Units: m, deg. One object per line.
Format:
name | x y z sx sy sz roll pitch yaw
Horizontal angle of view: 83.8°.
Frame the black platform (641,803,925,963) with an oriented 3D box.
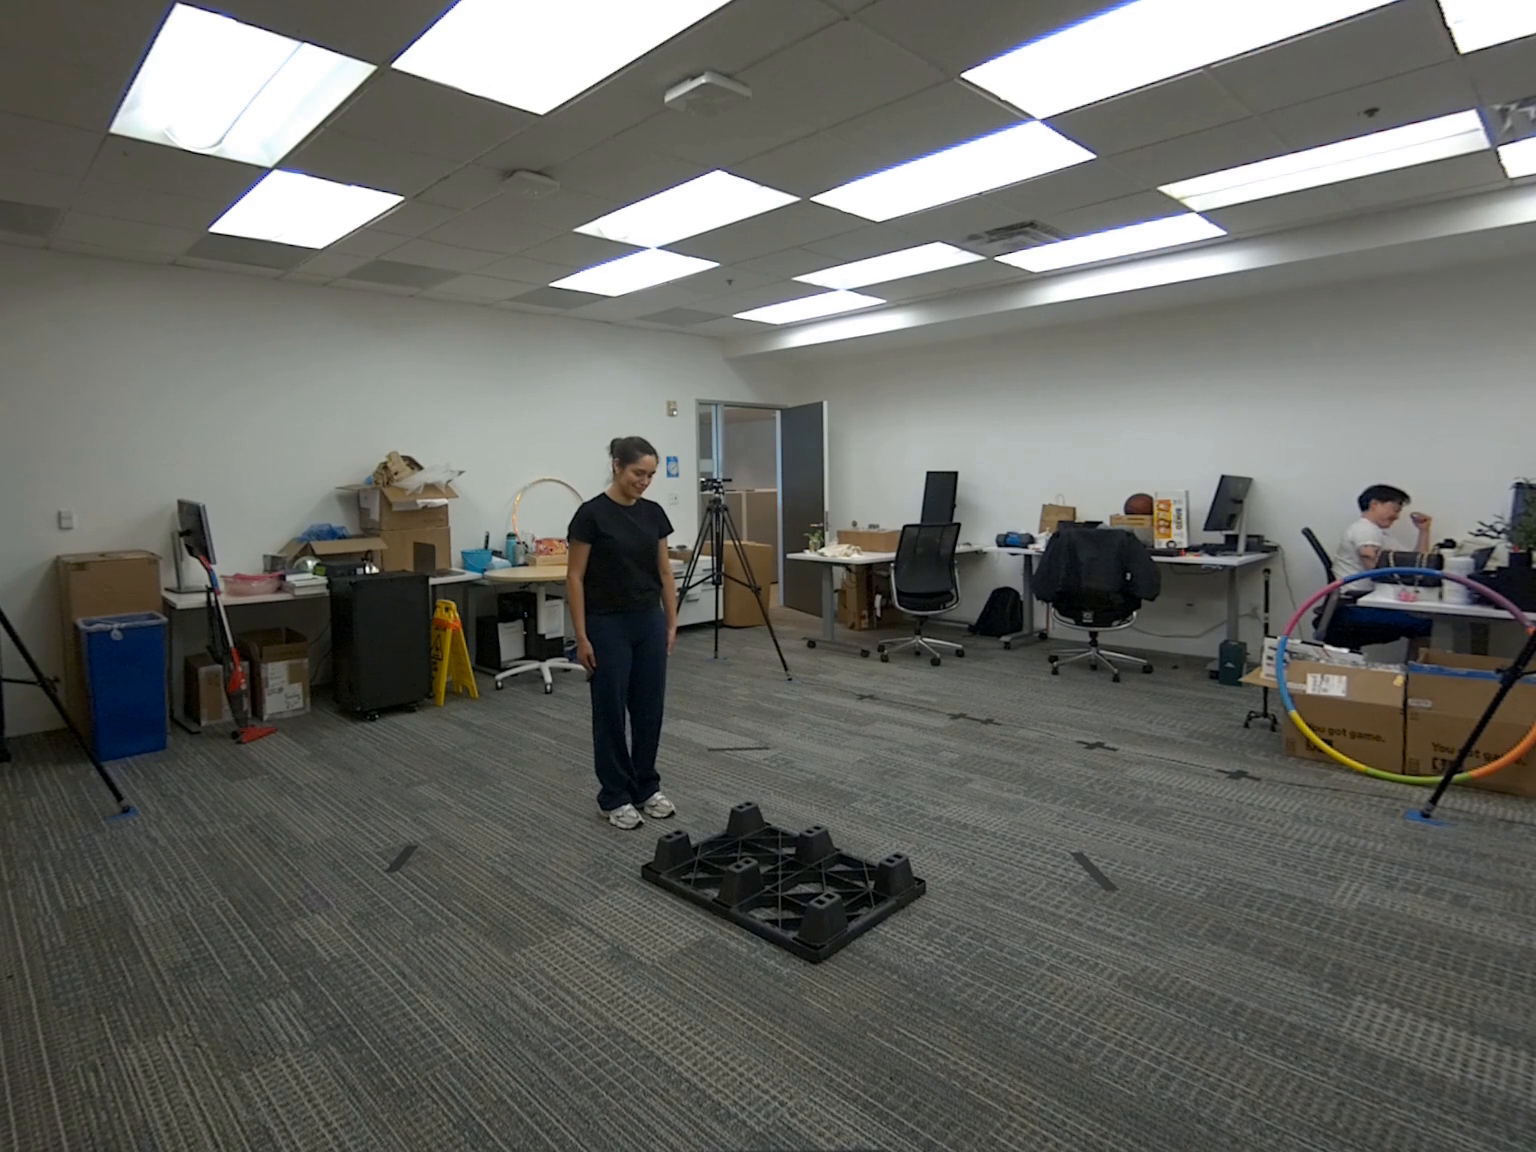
black platform | 0.046 0.994 2.949 0.831 0.142 0.589 5 9 43
